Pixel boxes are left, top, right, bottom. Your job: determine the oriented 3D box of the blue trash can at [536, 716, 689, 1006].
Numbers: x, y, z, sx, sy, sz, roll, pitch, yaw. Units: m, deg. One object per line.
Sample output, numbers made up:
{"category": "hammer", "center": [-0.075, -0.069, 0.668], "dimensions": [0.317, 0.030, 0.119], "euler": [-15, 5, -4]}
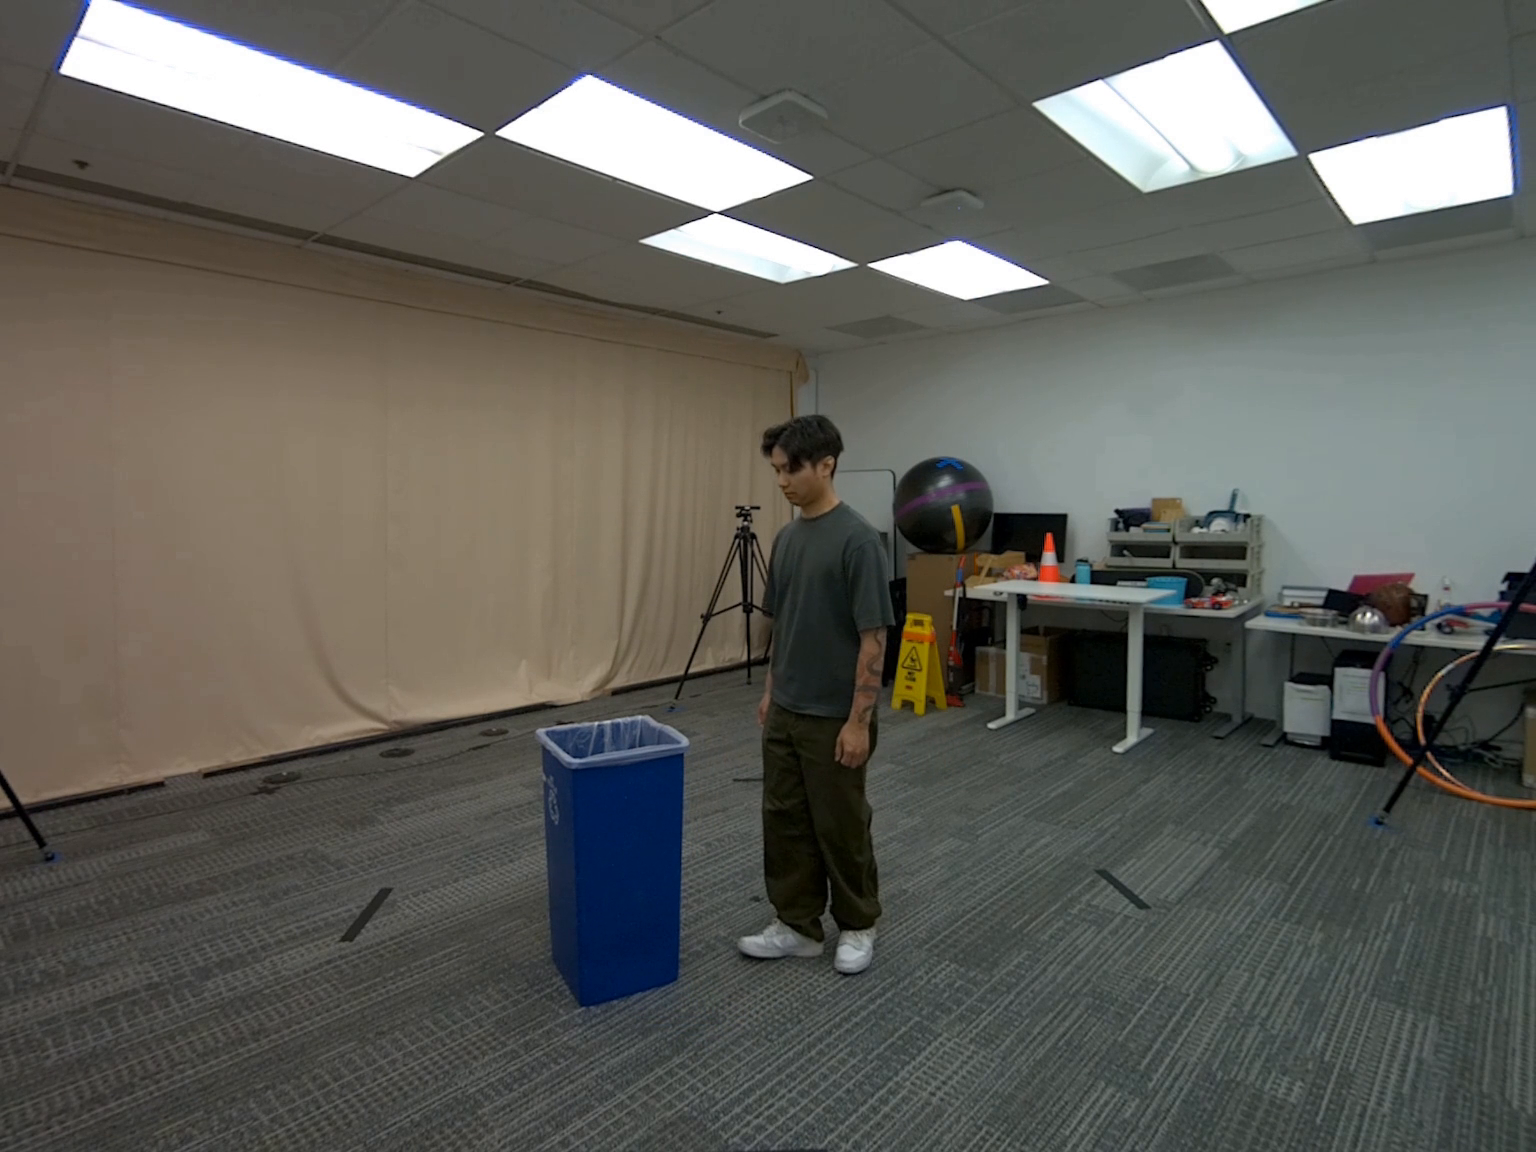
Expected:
{"category": "blue trash can", "center": [-0.460, 0.830, 2.522], "dimensions": [0.364, 0.712, 0.389], "euler": [-3, 5, -31]}
